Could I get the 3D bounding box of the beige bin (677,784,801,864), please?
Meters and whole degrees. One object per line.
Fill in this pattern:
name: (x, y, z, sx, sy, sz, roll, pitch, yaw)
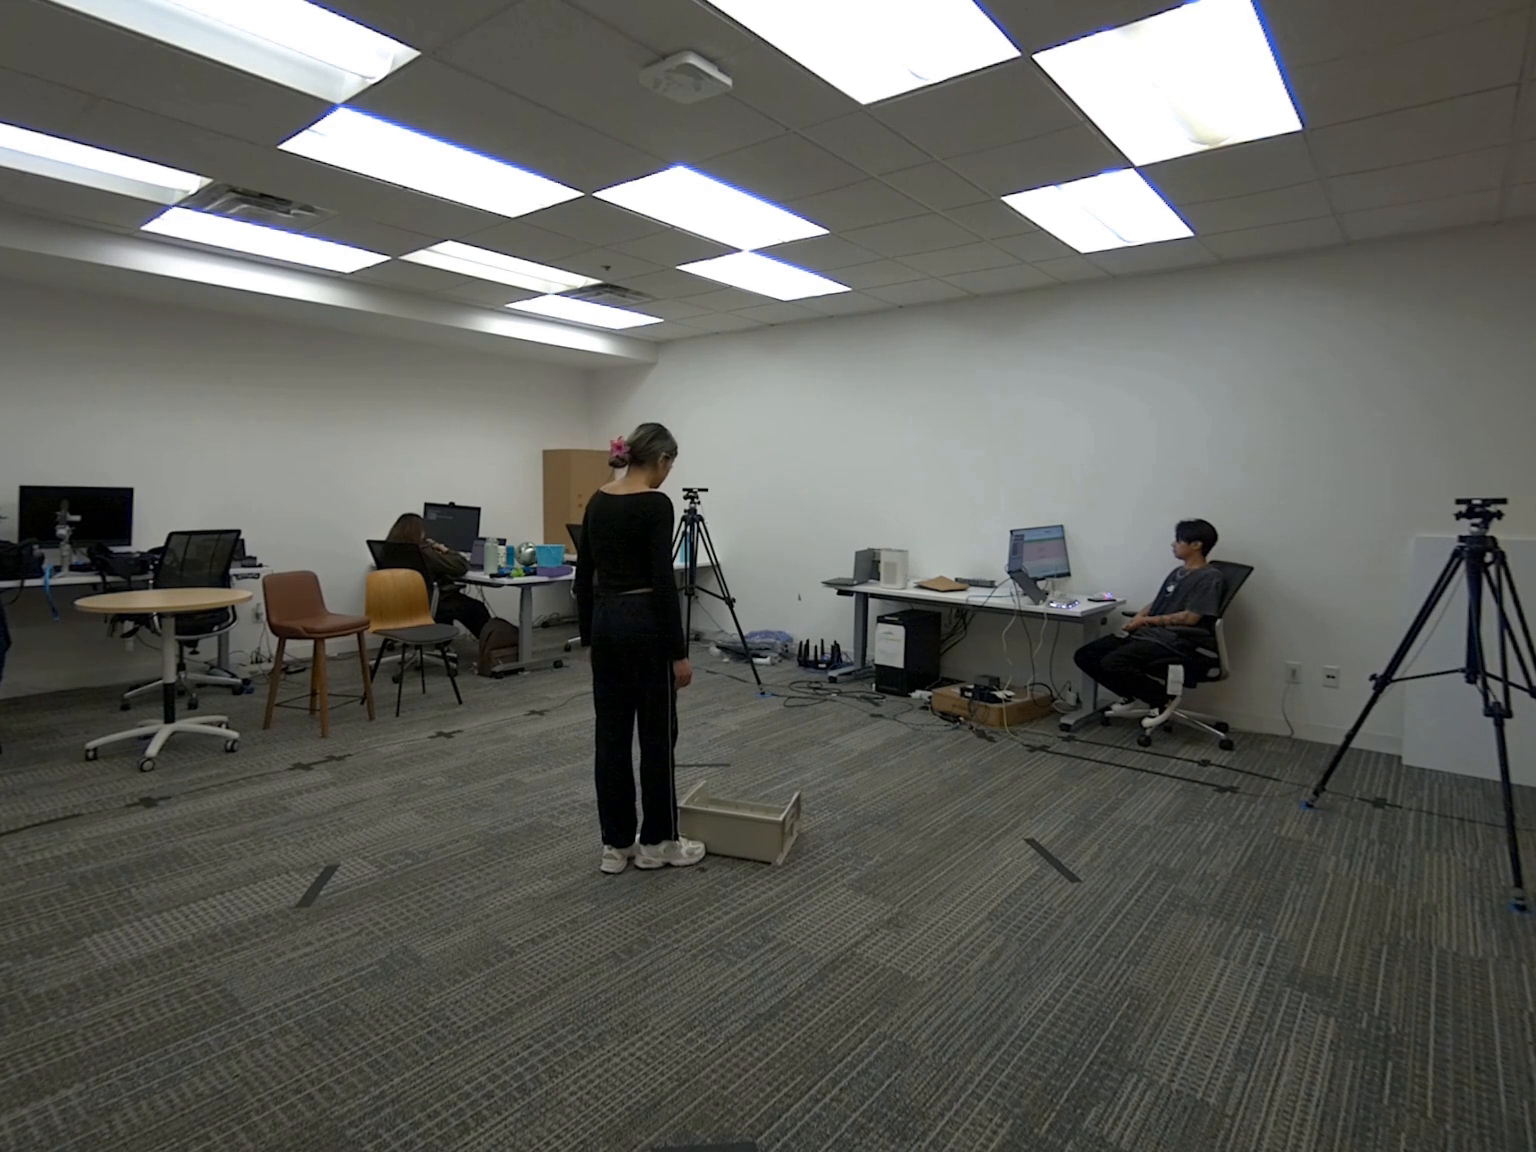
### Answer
beige bin: (-0.120, 0.960, 3.366, 0.430, 0.188, 0.372, 3, 6, 16)
